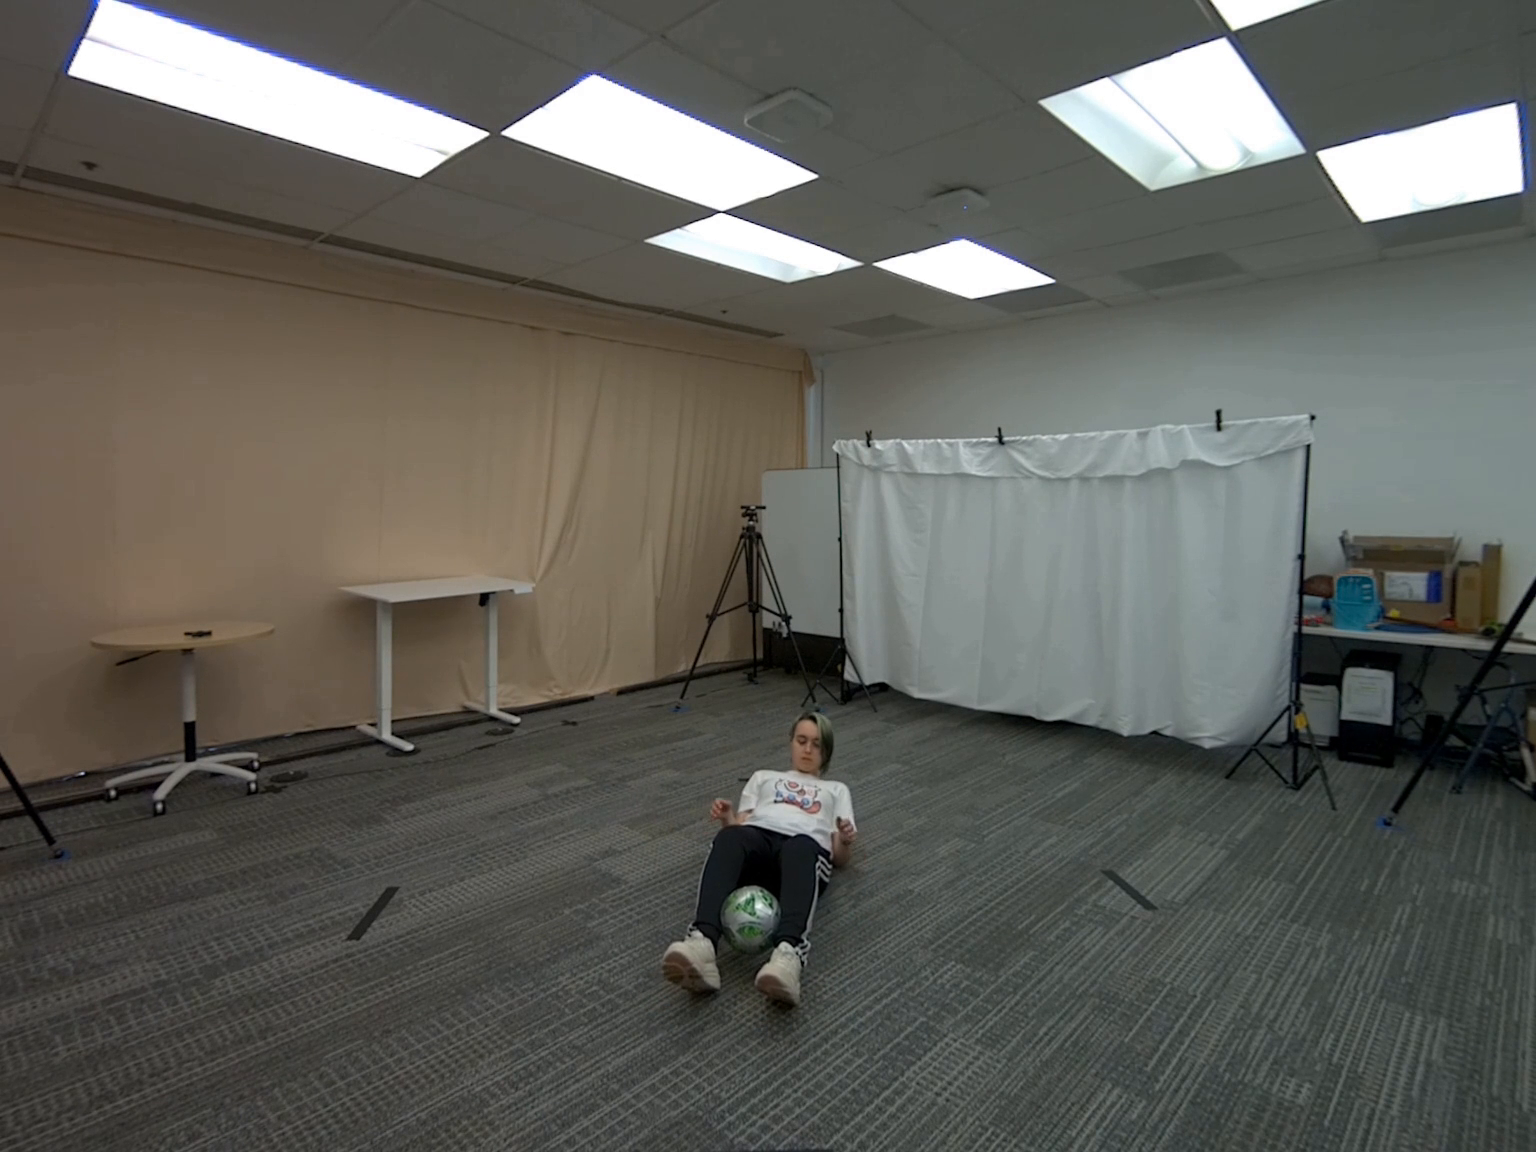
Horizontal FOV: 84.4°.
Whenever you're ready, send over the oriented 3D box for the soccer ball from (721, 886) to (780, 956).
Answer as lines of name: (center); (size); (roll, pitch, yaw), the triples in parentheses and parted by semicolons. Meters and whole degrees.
soccer ball: (-0.045, 1.020, 2.512); (0.187, 0.187, 0.188); (0, 4, -2)
